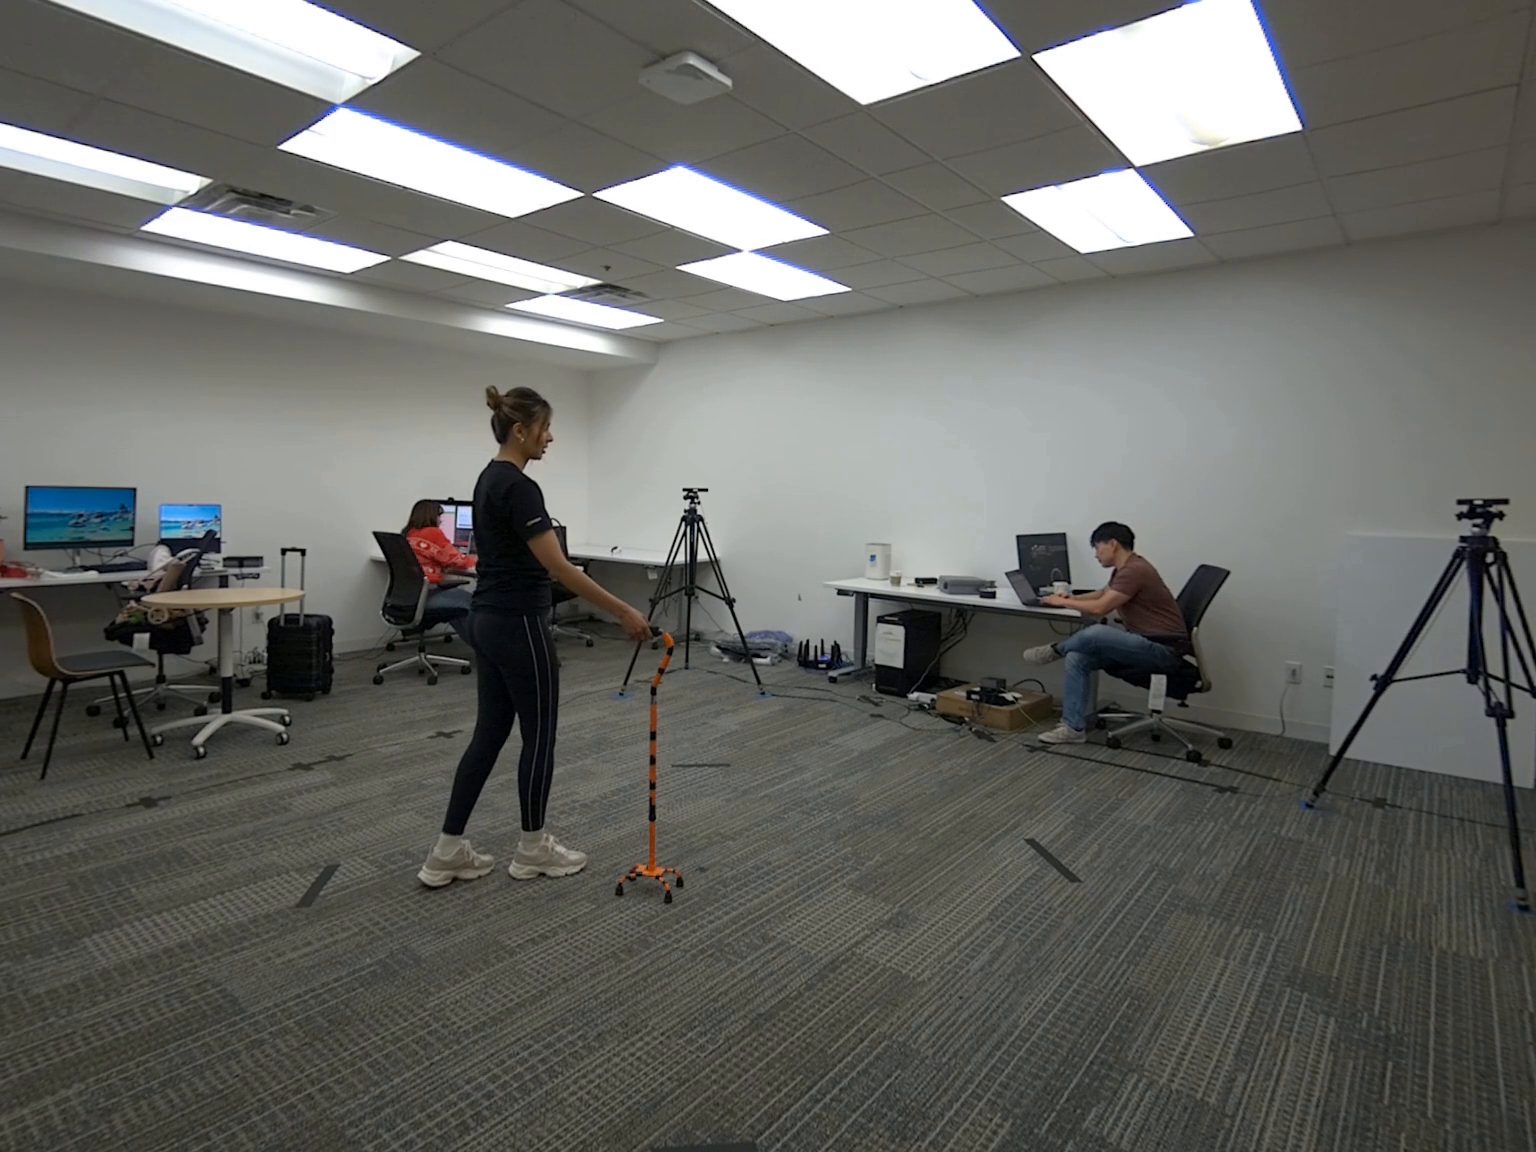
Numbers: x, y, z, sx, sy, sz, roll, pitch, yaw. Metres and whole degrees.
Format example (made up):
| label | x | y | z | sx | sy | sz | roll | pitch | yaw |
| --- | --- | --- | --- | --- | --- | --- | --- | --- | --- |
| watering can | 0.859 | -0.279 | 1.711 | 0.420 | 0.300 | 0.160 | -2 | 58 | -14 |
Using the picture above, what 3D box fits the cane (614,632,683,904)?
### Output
| label | x | y | z | sx | sy | sz | roll | pitch | yaw |
| --- | --- | --- | --- | --- | --- | --- | --- | --- | --- |
| cane | -0.400 | 0.635 | 2.919 | 0.209 | 0.906 | 0.150 | 3 | 2 | 12 |
